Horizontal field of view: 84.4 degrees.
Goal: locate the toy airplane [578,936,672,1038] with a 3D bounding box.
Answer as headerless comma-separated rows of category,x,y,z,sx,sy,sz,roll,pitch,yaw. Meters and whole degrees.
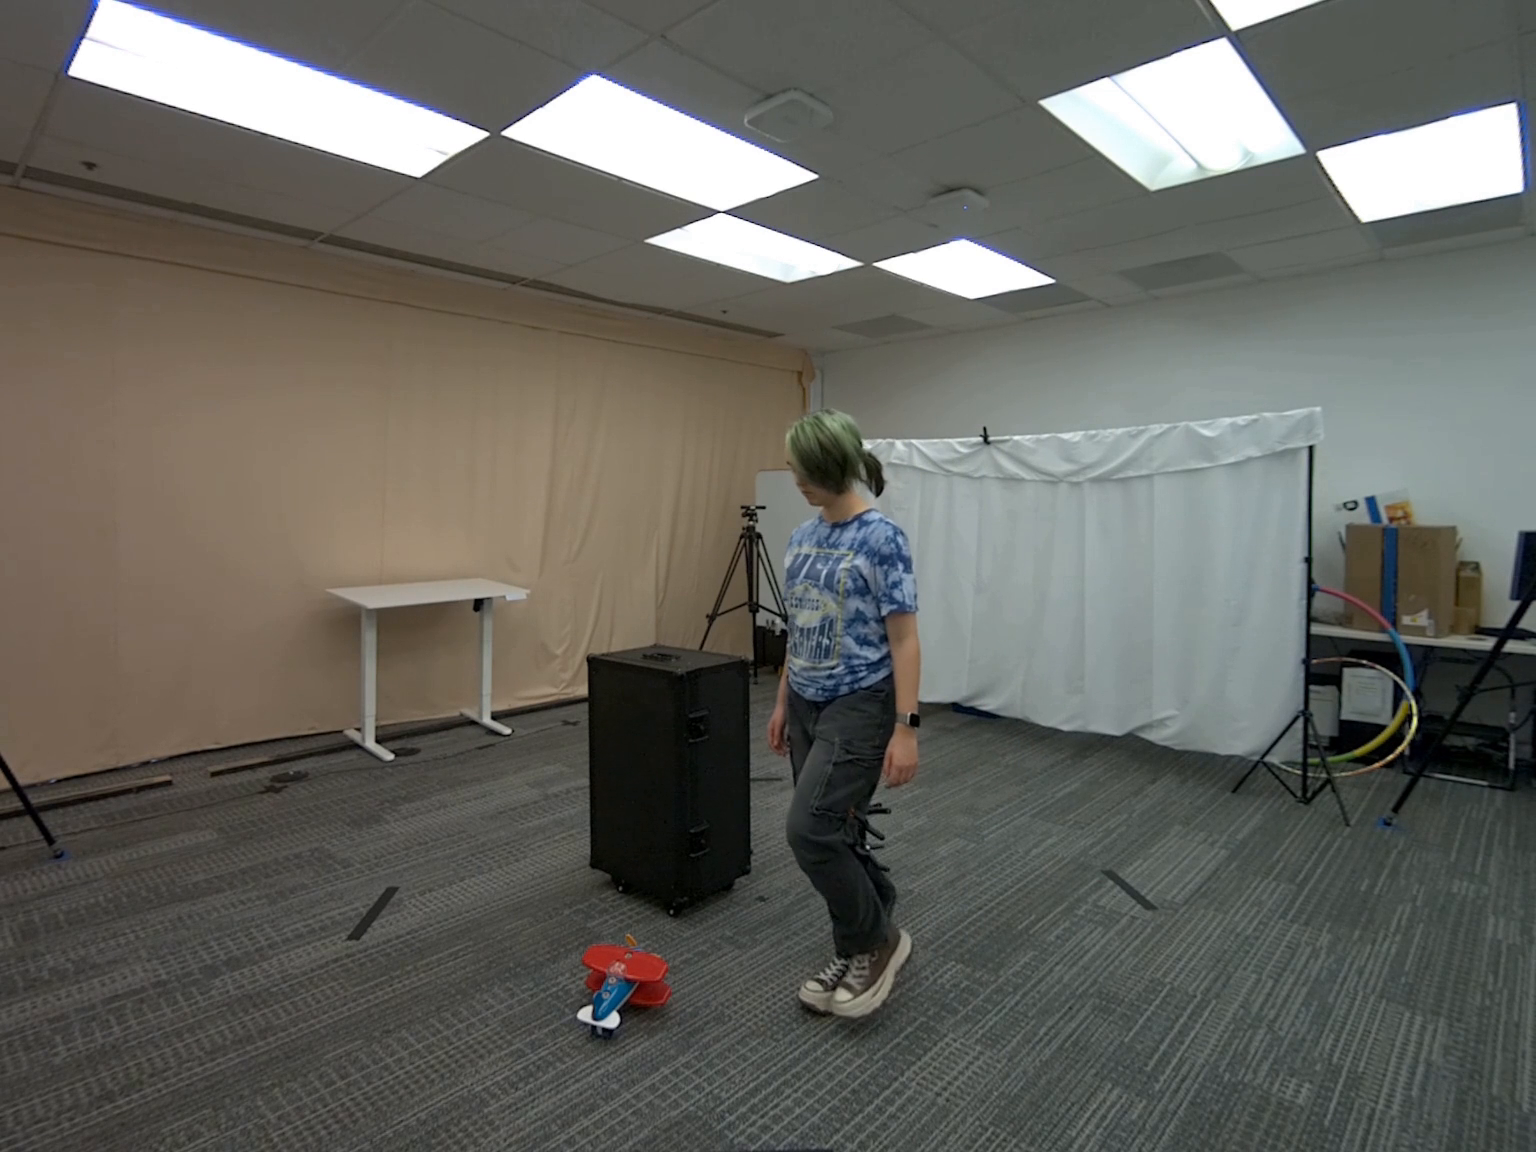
toy airplane,-0.386,1.124,2.301,0.249,0.156,0.261,0,3,-7
